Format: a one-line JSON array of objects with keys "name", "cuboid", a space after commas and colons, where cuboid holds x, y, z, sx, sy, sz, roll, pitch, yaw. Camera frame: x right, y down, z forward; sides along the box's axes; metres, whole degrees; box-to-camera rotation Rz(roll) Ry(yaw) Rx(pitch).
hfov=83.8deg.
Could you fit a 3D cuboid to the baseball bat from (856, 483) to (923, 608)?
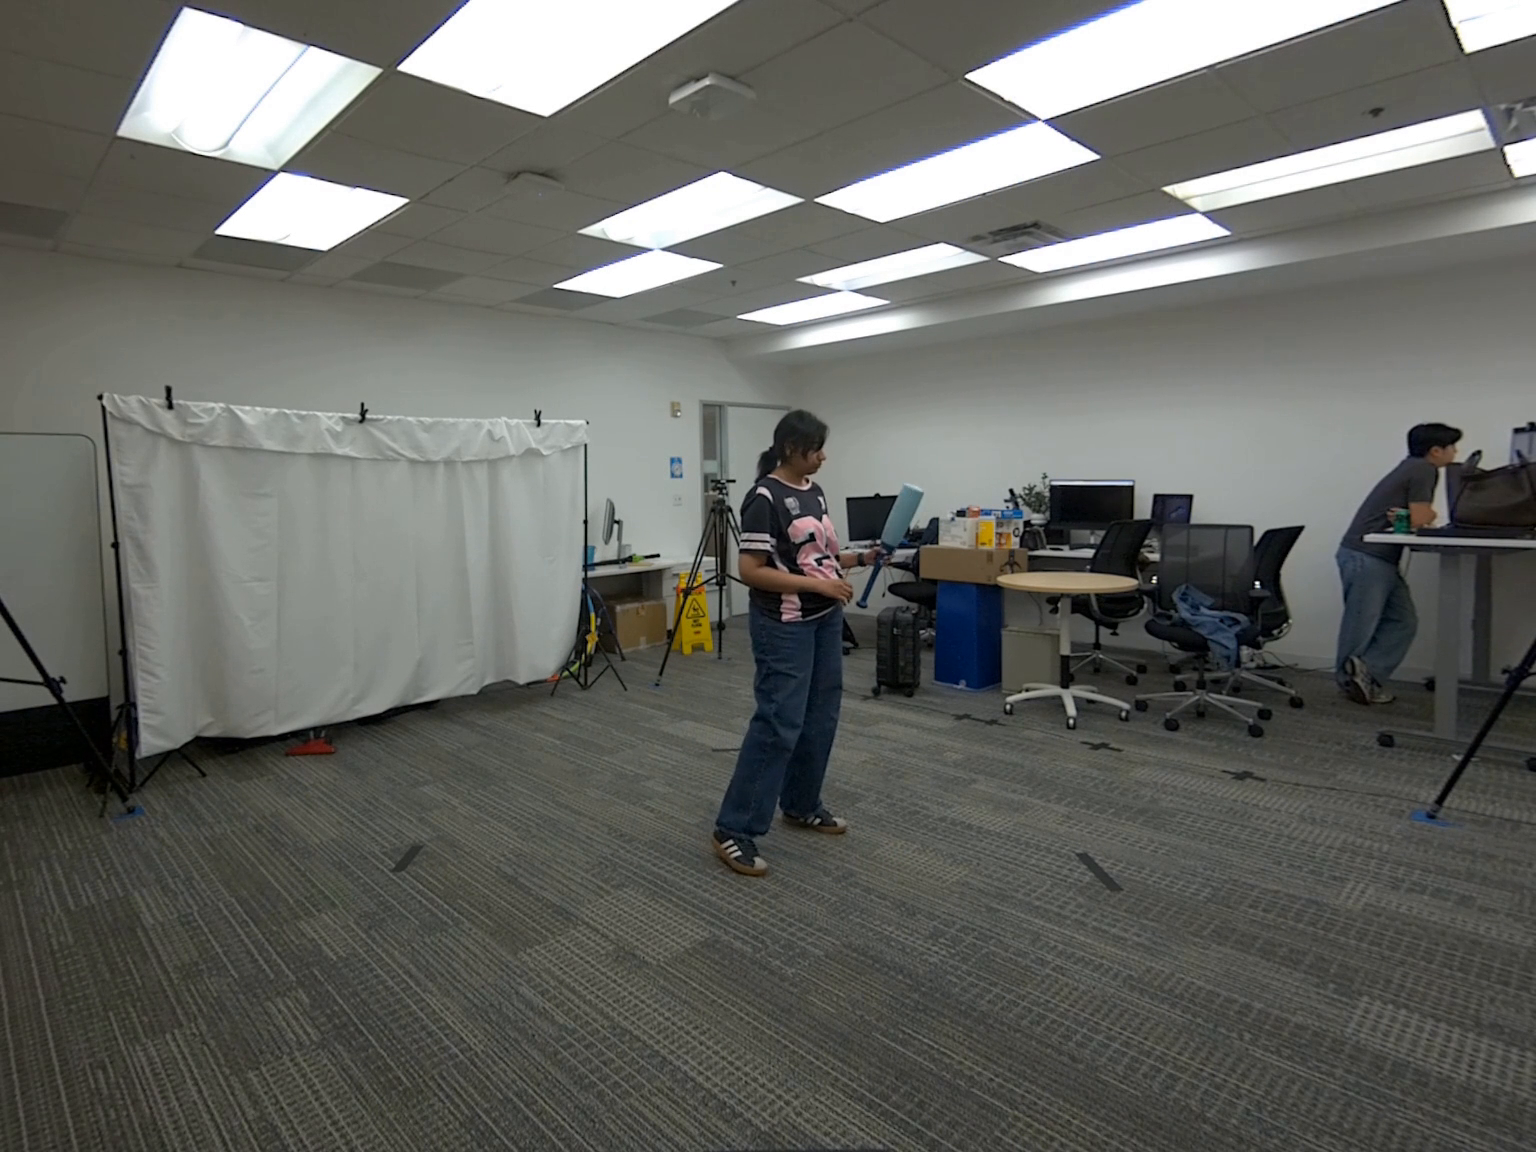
[{"name": "baseball bat", "cuboid": [0.460, -0.106, 3.404, 0.088, 0.539, 0.090, 21, 15, -8]}]
